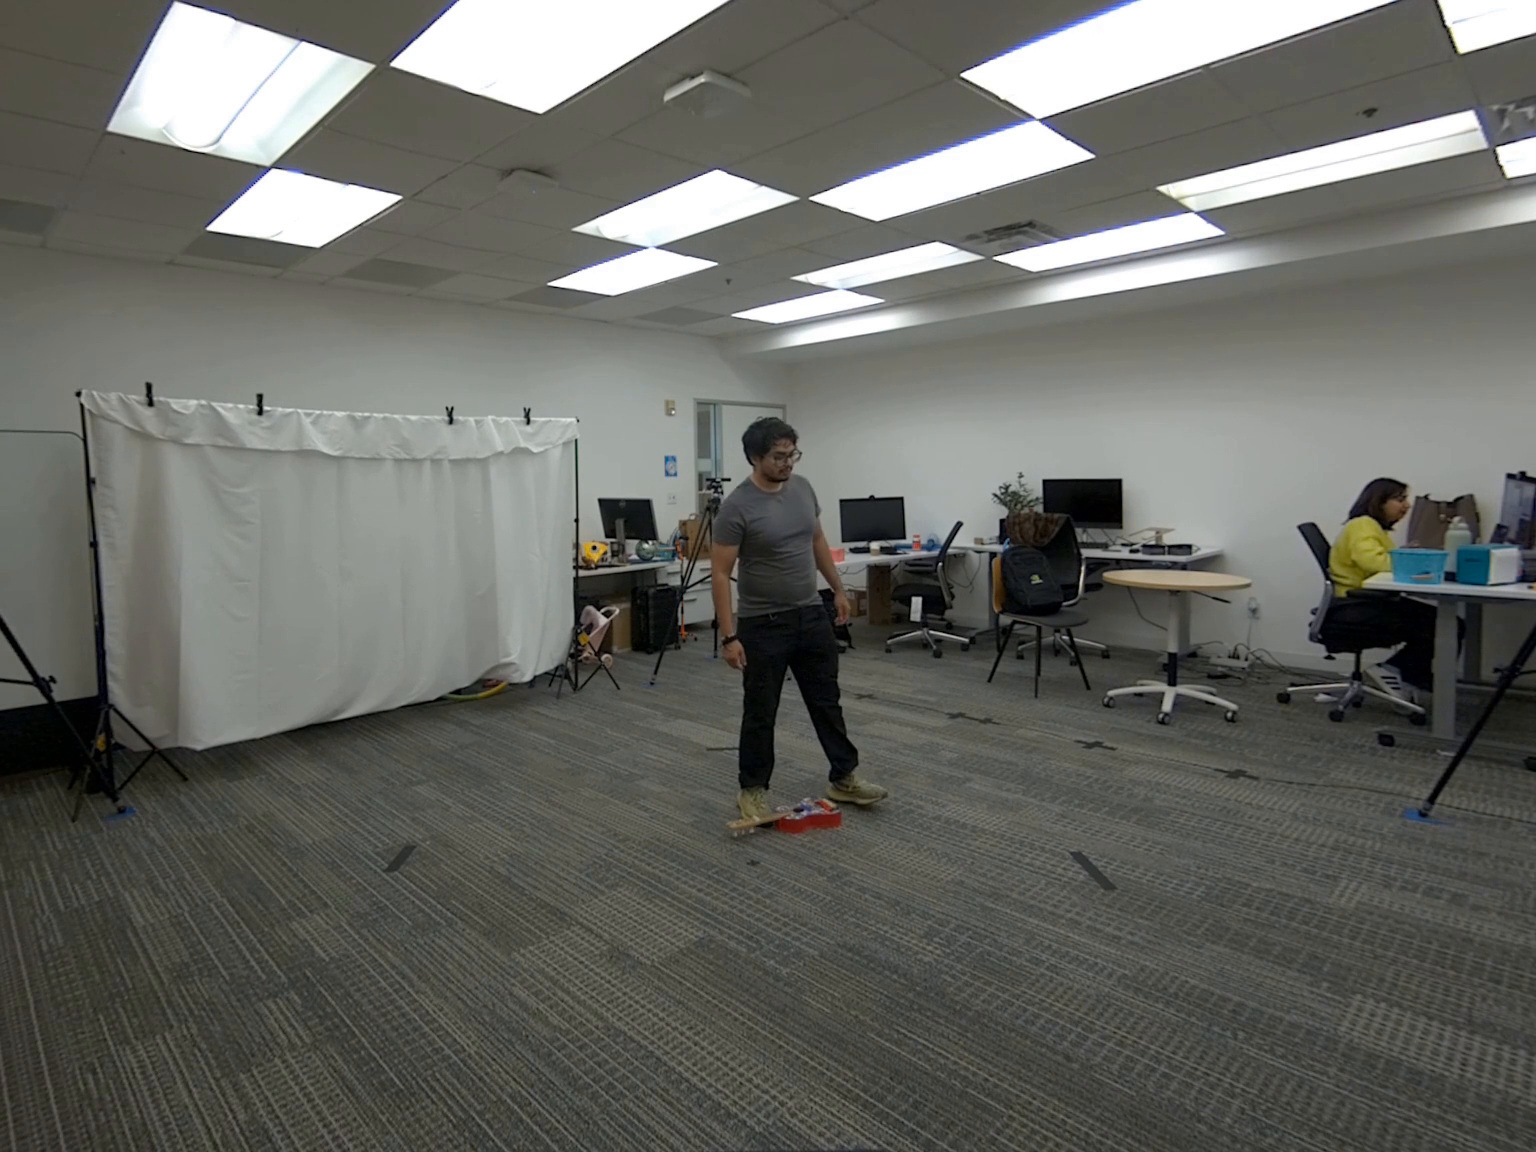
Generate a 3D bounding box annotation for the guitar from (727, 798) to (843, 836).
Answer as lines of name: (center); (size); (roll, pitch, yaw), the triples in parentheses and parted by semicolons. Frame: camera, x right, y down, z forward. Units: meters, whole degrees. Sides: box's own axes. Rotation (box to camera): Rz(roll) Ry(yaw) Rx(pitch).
guitar: (0.048, 0.969, 3.431); (0.489, 0.070, 0.197); (-3, 7, -20)
